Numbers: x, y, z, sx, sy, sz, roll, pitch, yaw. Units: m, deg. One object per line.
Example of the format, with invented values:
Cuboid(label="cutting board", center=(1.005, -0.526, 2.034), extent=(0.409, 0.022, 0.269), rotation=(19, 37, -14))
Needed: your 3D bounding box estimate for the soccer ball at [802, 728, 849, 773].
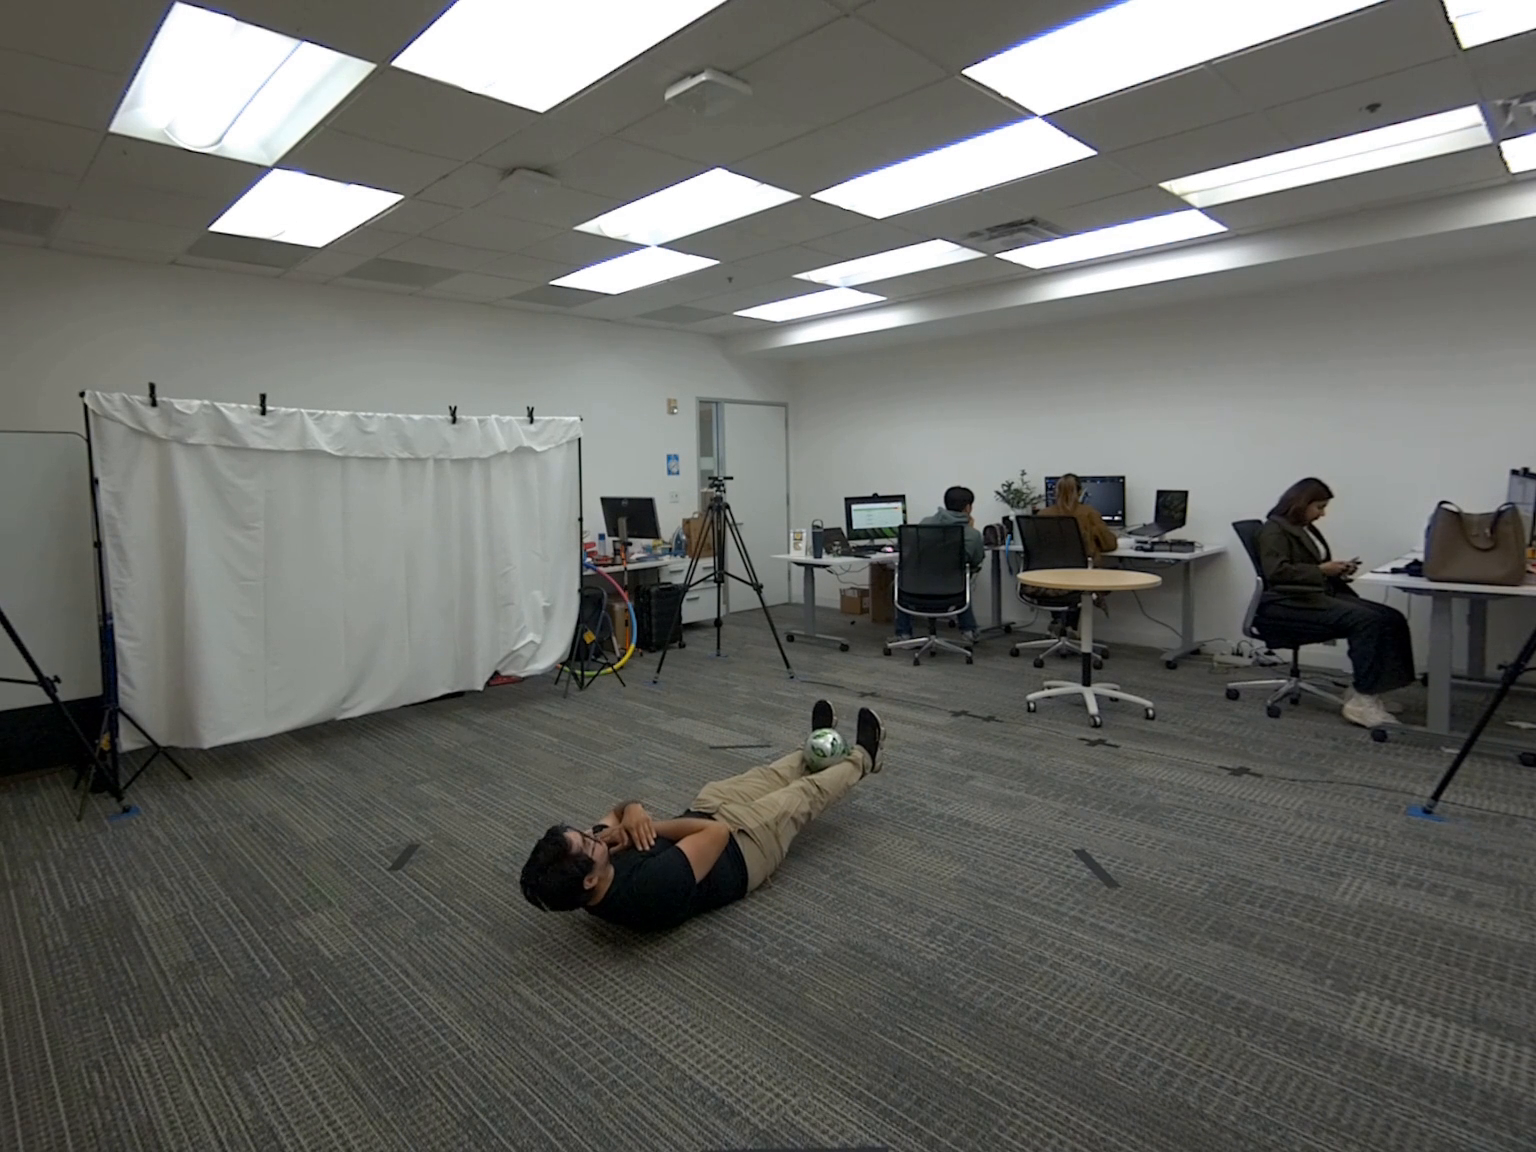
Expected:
Cuboid(label="soccer ball", center=(0.244, 0.721, 3.472), extent=(0.187, 0.187, 0.188), rotation=(-1, 4, -2))
